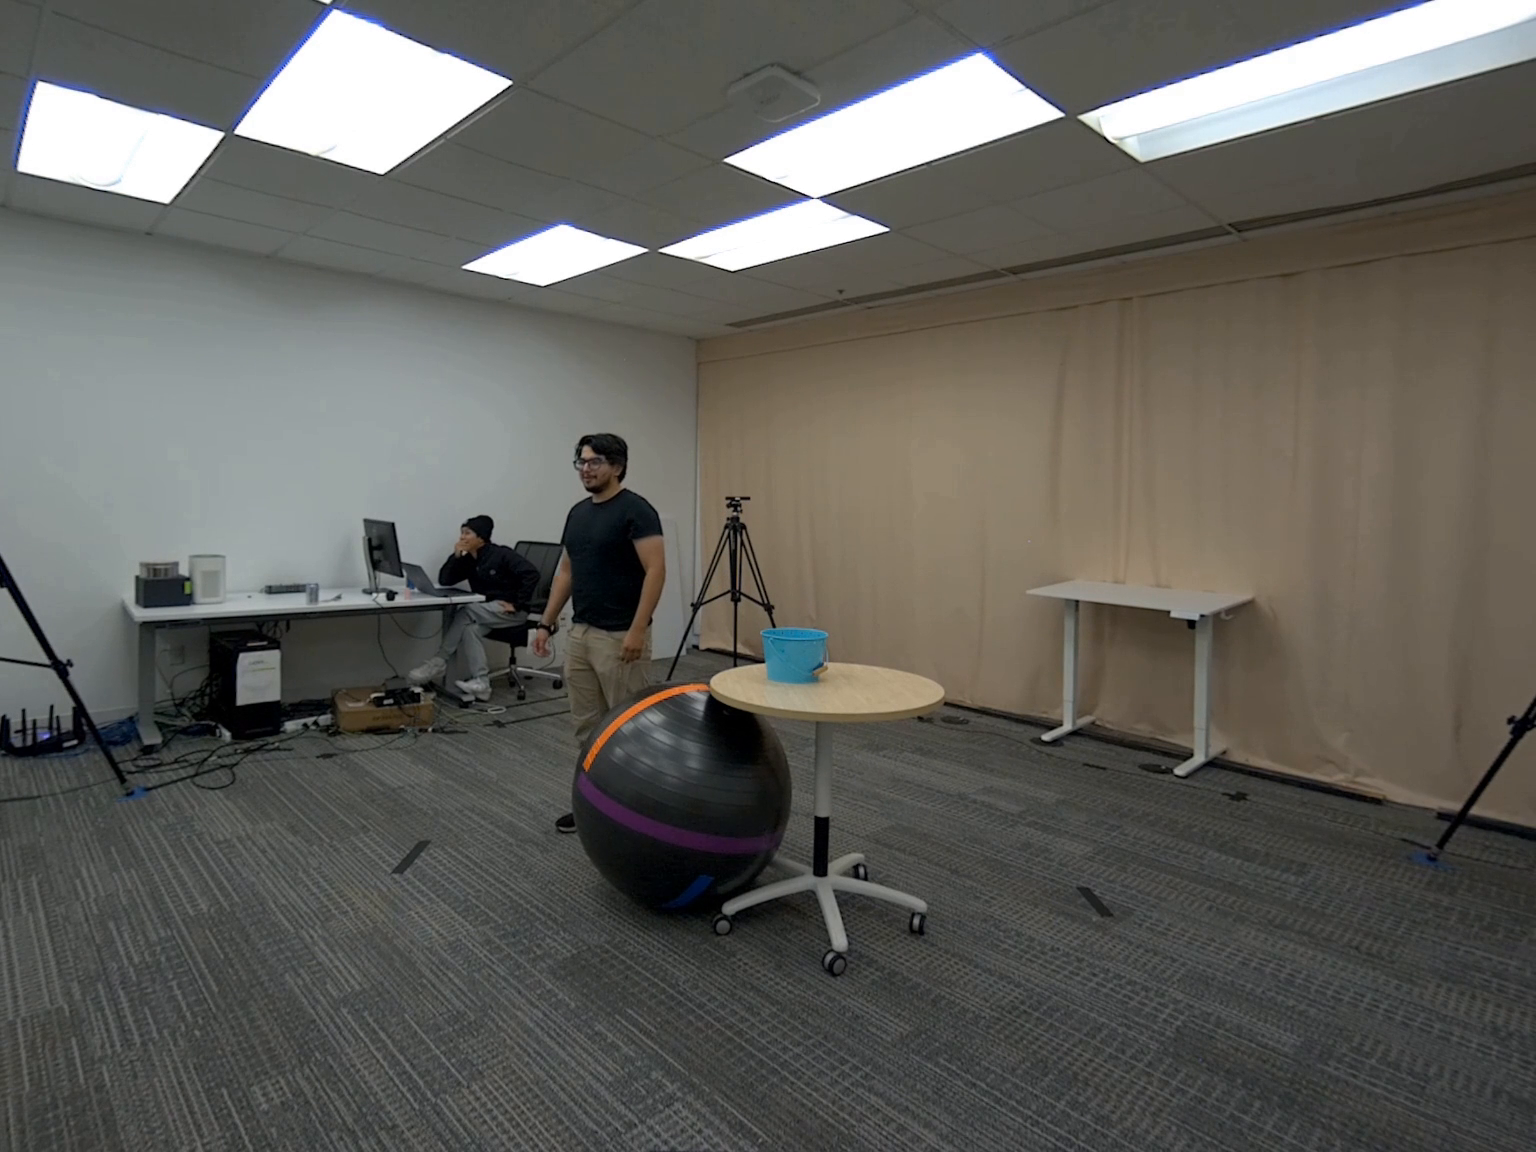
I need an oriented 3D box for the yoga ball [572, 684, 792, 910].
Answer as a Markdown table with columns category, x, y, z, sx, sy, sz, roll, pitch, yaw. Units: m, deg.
| category | x | y | z | sx | sy | sz | roll | pitch | yaw |
| --- | --- | --- | --- | --- | --- | --- | --- | --- | --- |
| yoga ball | -0.299 | 0.757 | 2.923 | 0.757 | 0.756 | 0.761 | 1 | 4 | -1 |
